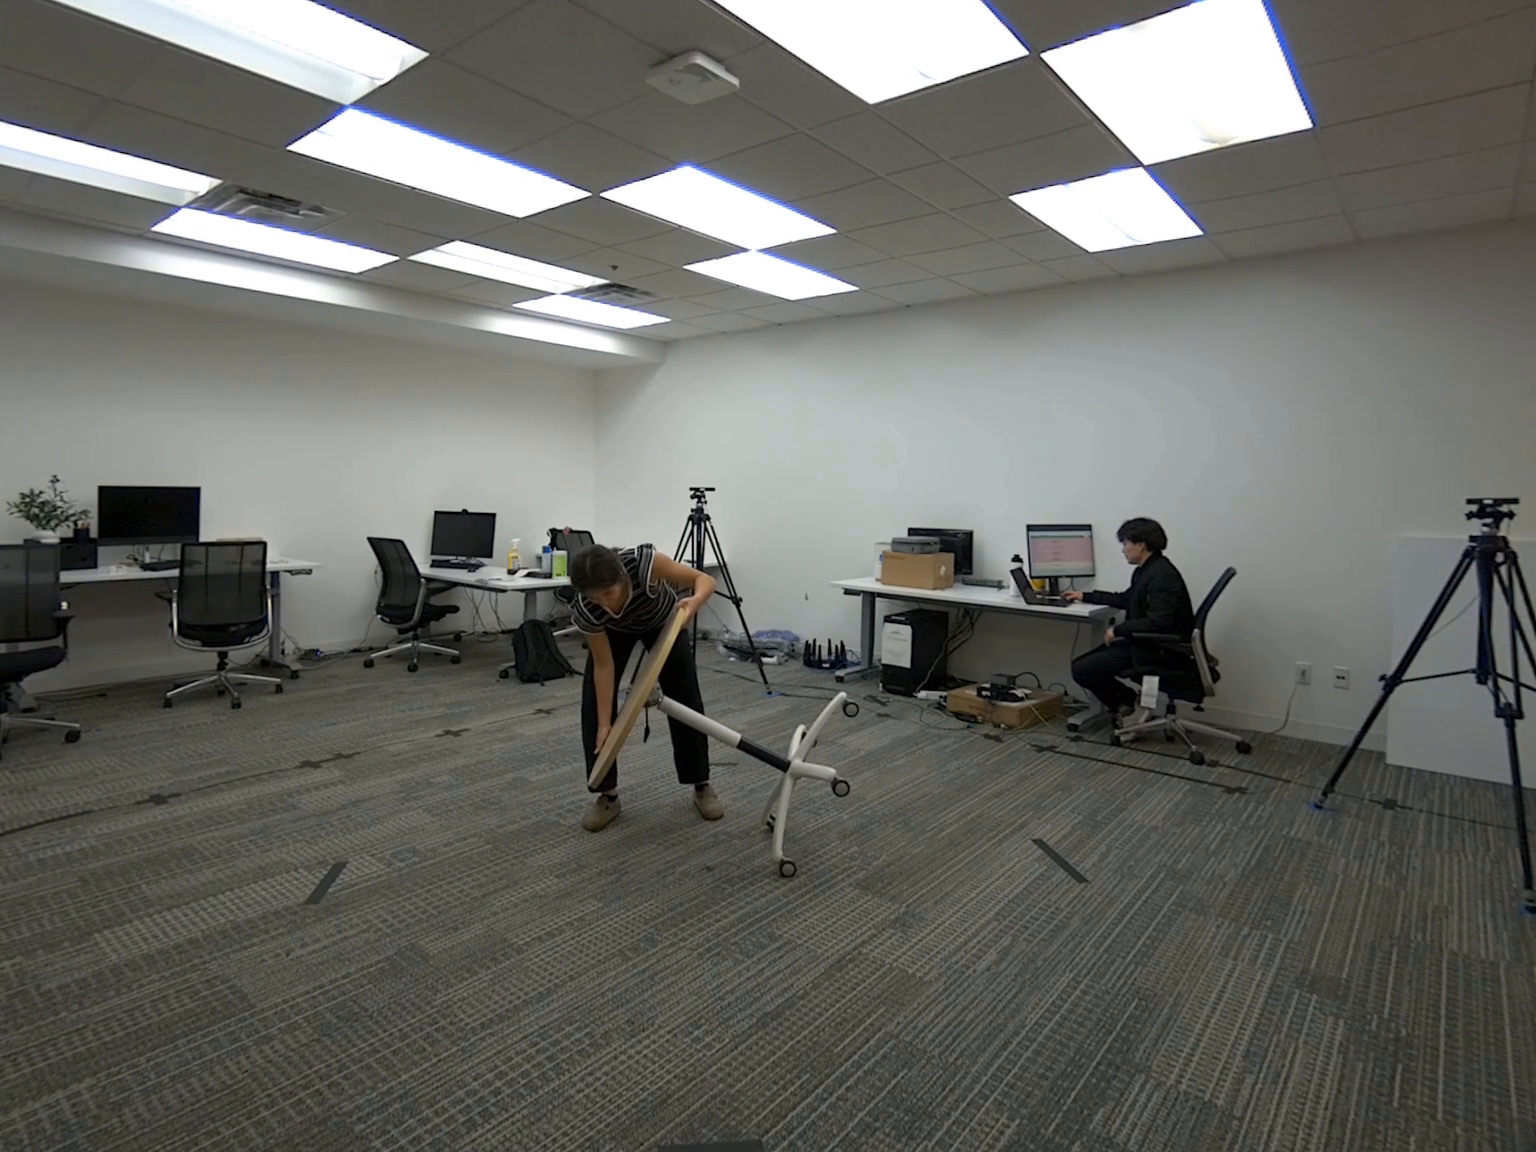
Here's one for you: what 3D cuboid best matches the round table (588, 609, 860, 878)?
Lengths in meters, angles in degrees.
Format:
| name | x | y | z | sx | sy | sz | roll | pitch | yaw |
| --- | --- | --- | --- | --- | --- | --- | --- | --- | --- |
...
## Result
| name | x | y | z | sx | sy | sz | roll | pitch | yaw |
| --- | --- | --- | --- | --- | --- | --- | --- | --- | --- |
| round table | -0.155 | 0.609 | 3.250 | 0.782 | 0.784 | 0.791 | 28 | 2 | -6 |
